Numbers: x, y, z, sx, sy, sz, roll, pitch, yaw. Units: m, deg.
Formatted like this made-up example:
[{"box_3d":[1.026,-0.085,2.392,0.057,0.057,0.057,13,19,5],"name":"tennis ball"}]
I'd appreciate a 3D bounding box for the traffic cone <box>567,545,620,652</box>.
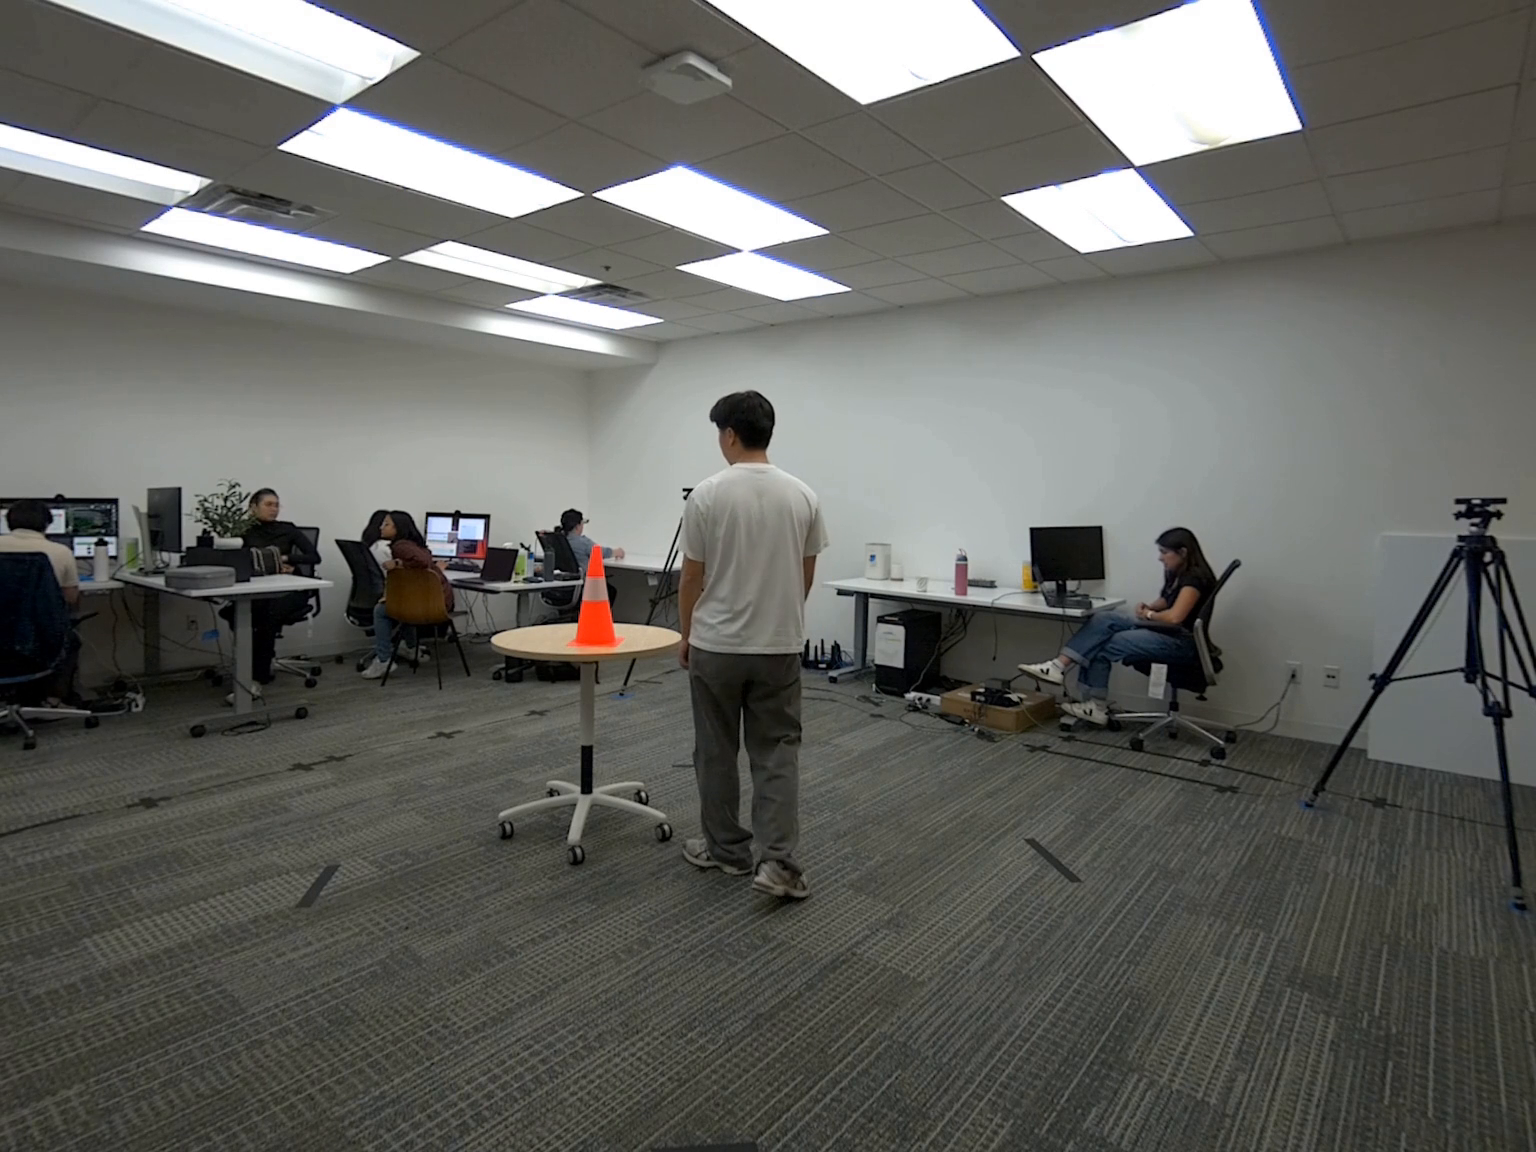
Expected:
[{"box_3d":[-0.675,0.067,3.328,0.206,0.383,0.203,2,3,2],"name":"traffic cone"}]
